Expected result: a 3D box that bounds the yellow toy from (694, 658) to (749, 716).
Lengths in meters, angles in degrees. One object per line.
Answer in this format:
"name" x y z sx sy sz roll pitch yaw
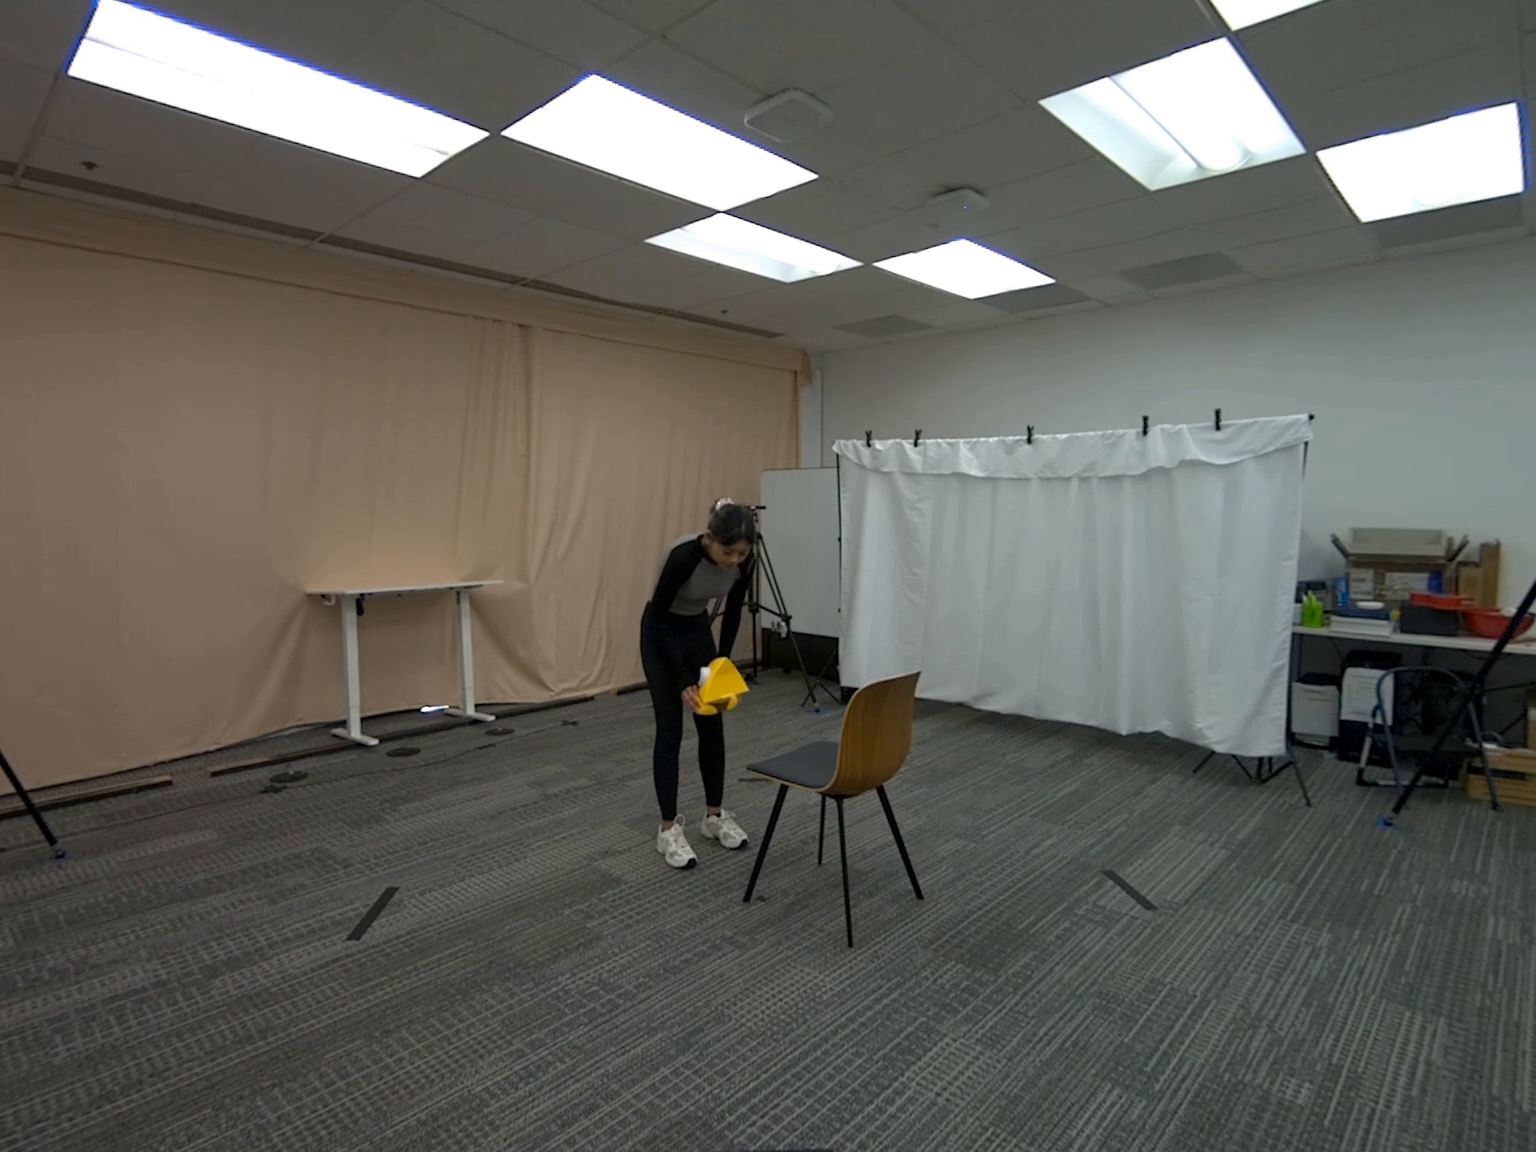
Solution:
"yellow toy" -0.202 0.389 3.252 0.199 0.228 0.200 -11 29 -33
